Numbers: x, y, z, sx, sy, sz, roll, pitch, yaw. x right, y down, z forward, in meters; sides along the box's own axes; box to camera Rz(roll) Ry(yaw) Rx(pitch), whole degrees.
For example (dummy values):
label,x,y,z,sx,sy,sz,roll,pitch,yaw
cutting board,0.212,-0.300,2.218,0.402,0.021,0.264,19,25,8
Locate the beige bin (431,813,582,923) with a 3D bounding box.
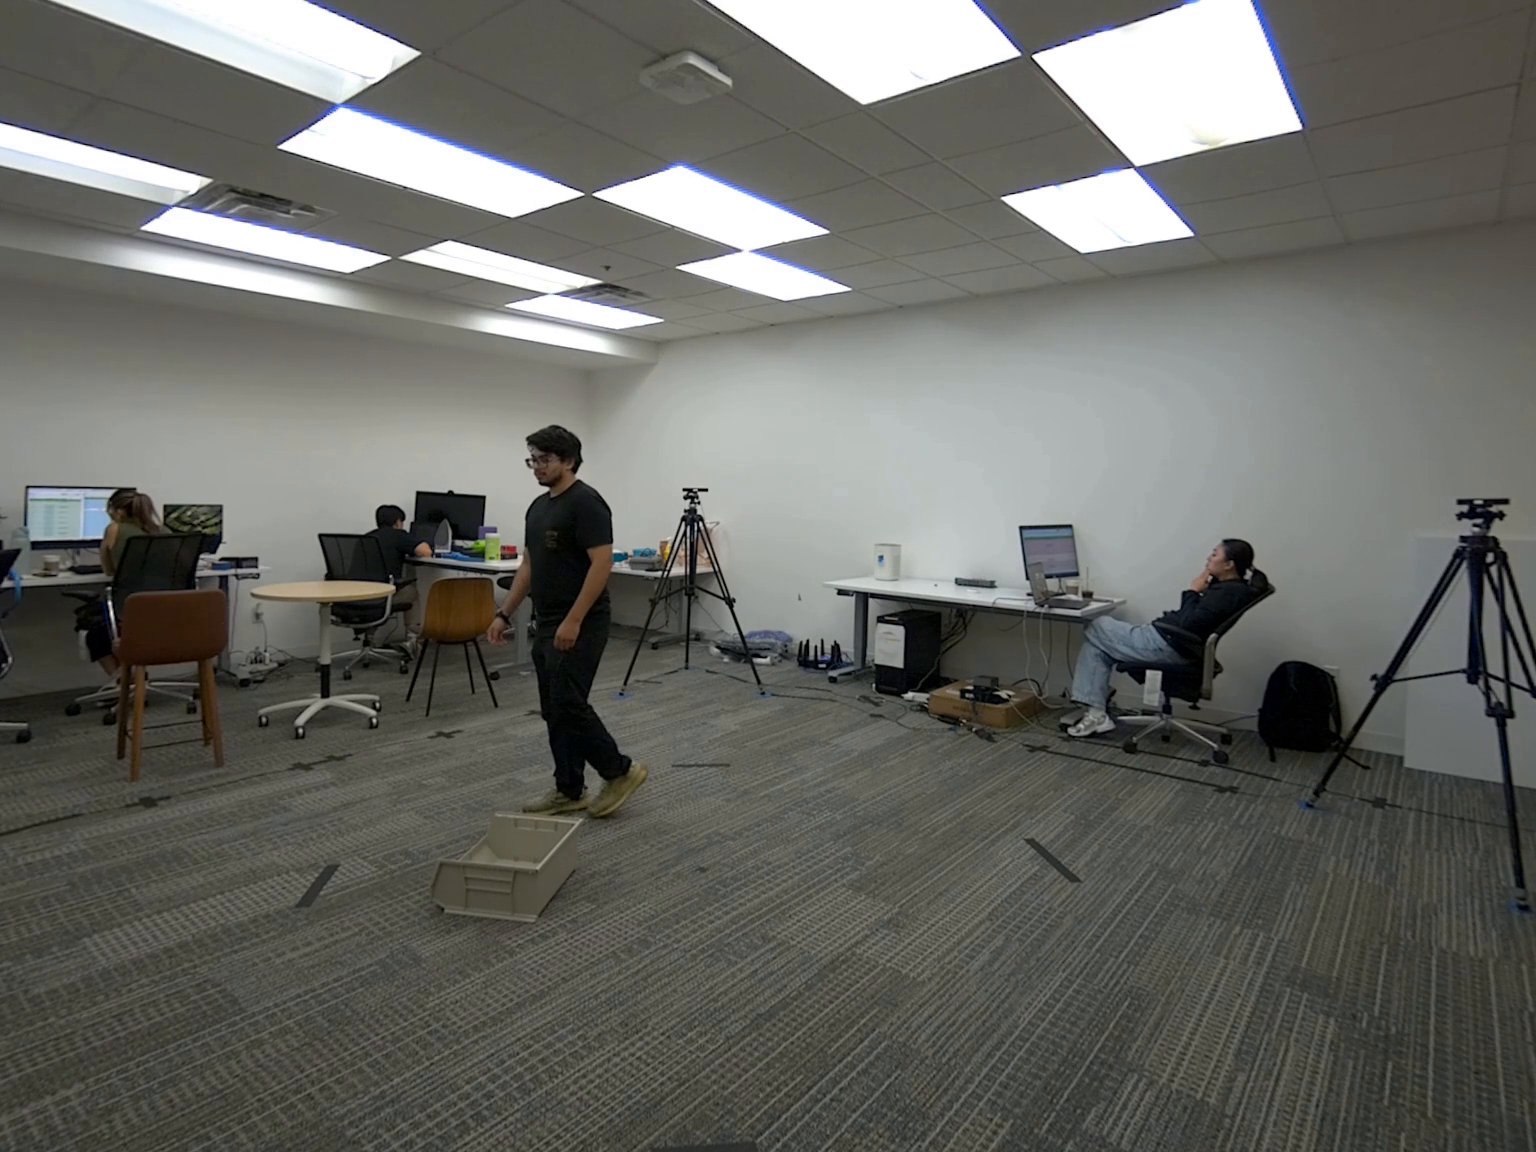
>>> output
label,x,y,z,sx,sy,sz,roll,pitch,yaw
beige bin,-0.906,0.986,2.928,0.381,0.188,0.419,3,5,8
